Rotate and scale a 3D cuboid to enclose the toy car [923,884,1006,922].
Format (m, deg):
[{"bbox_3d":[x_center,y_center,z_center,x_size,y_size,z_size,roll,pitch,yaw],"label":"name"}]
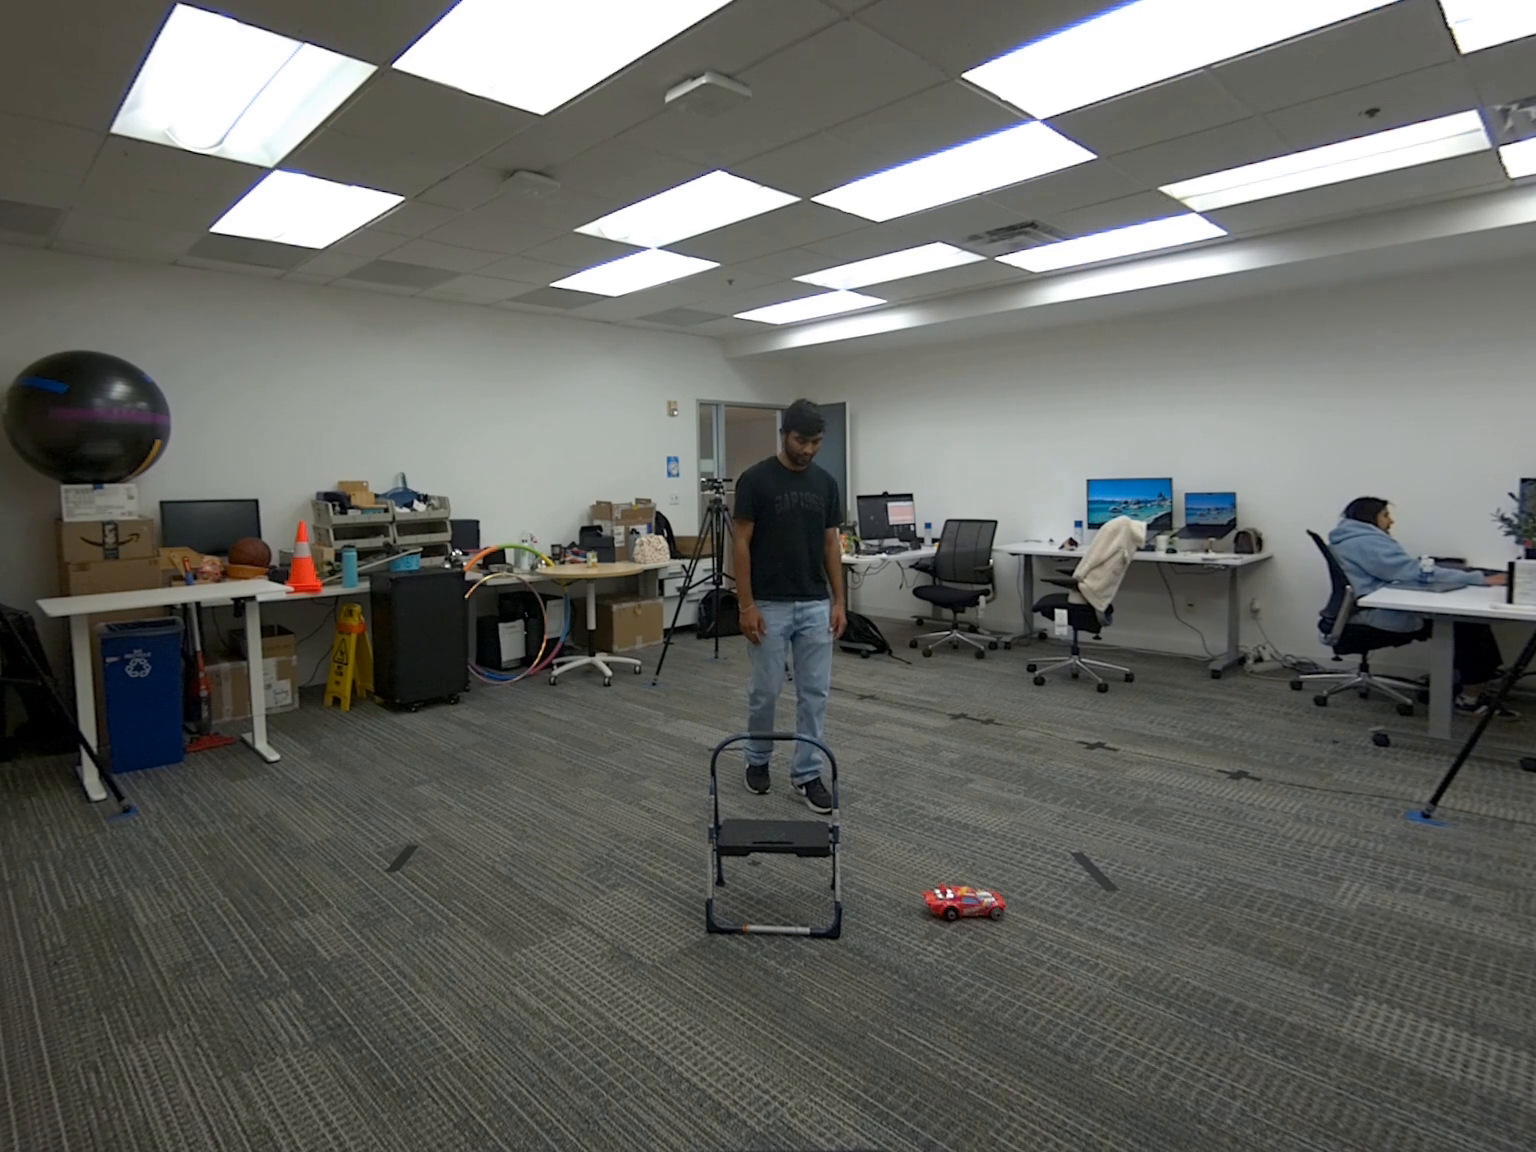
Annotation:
[{"bbox_3d":[0.621,1.038,2.723,0.254,0.083,0.131,10,5,-2],"label":"toy car"}]
